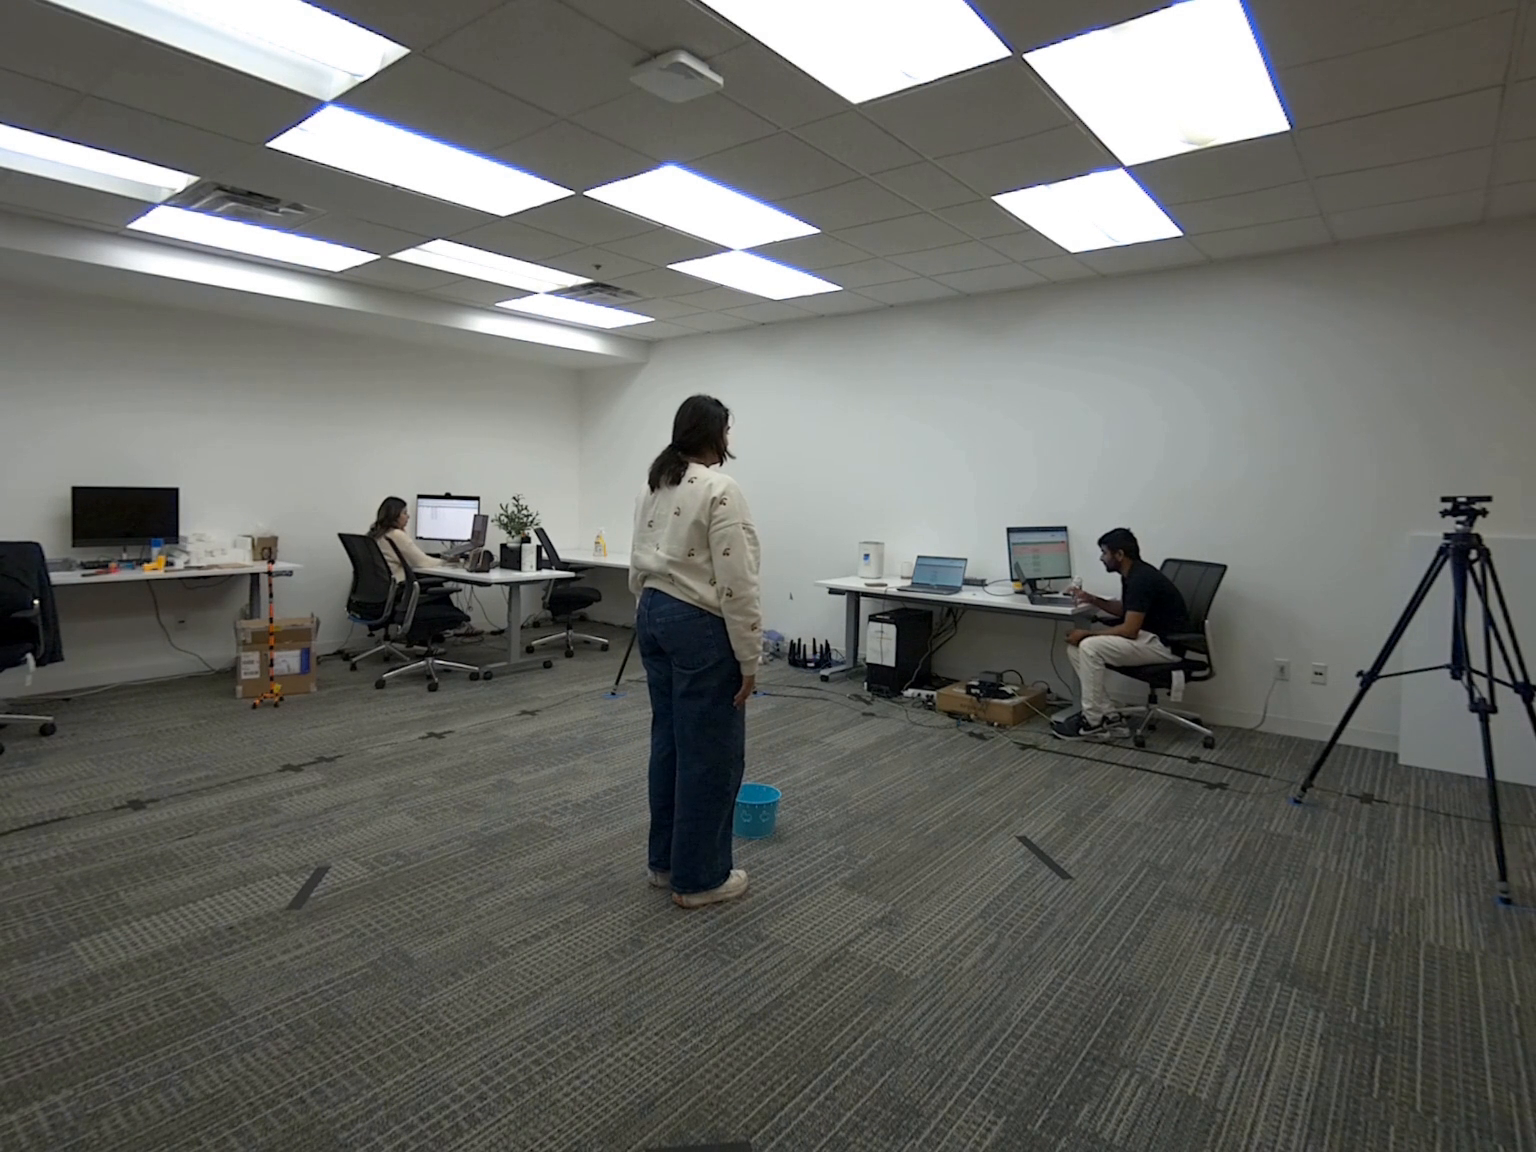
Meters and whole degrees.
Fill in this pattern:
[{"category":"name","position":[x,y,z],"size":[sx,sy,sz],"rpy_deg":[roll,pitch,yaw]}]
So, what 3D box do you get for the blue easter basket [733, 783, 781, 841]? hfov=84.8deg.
[{"category":"blue easter basket","position":[-0.077,0.951,3.479],"size":[0.243,0.155,0.245],"rpy_deg":[1,5,-2]}]
